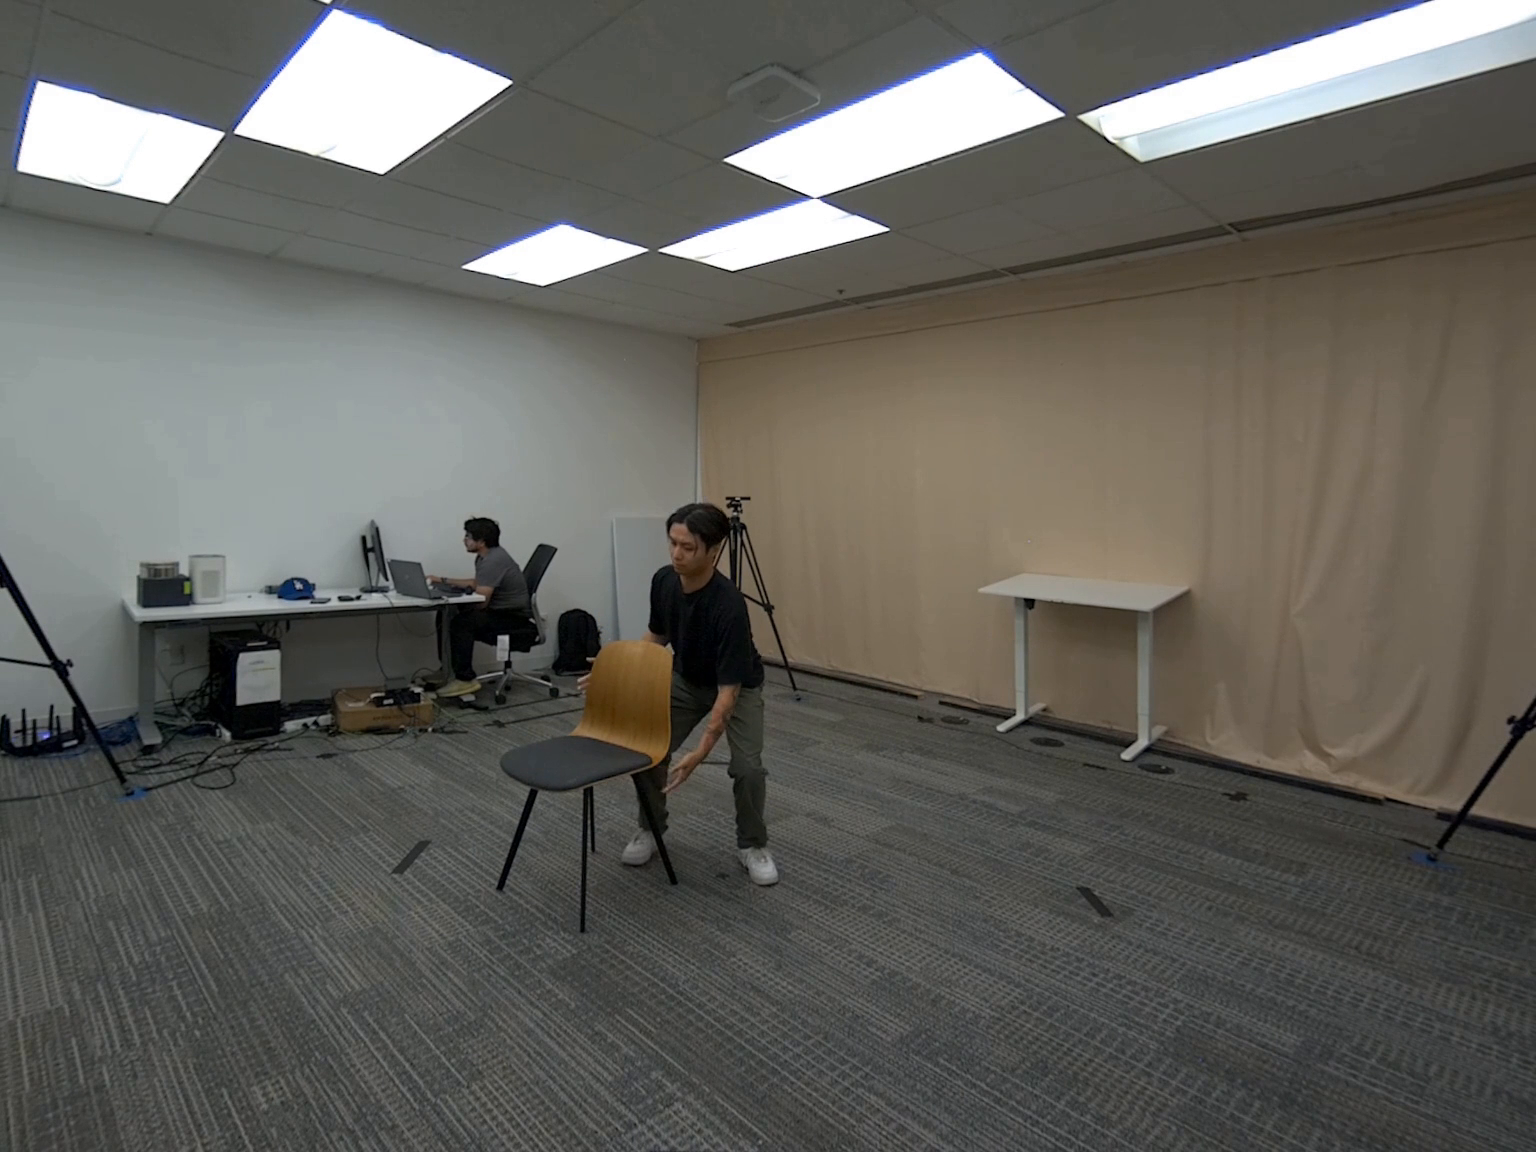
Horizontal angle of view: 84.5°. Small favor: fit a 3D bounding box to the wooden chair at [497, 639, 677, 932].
[{"bbox_3d":[-0.633,0.682,2.948,0.490,0.877,0.510,5,0,37],"label":"wooden chair"}]
